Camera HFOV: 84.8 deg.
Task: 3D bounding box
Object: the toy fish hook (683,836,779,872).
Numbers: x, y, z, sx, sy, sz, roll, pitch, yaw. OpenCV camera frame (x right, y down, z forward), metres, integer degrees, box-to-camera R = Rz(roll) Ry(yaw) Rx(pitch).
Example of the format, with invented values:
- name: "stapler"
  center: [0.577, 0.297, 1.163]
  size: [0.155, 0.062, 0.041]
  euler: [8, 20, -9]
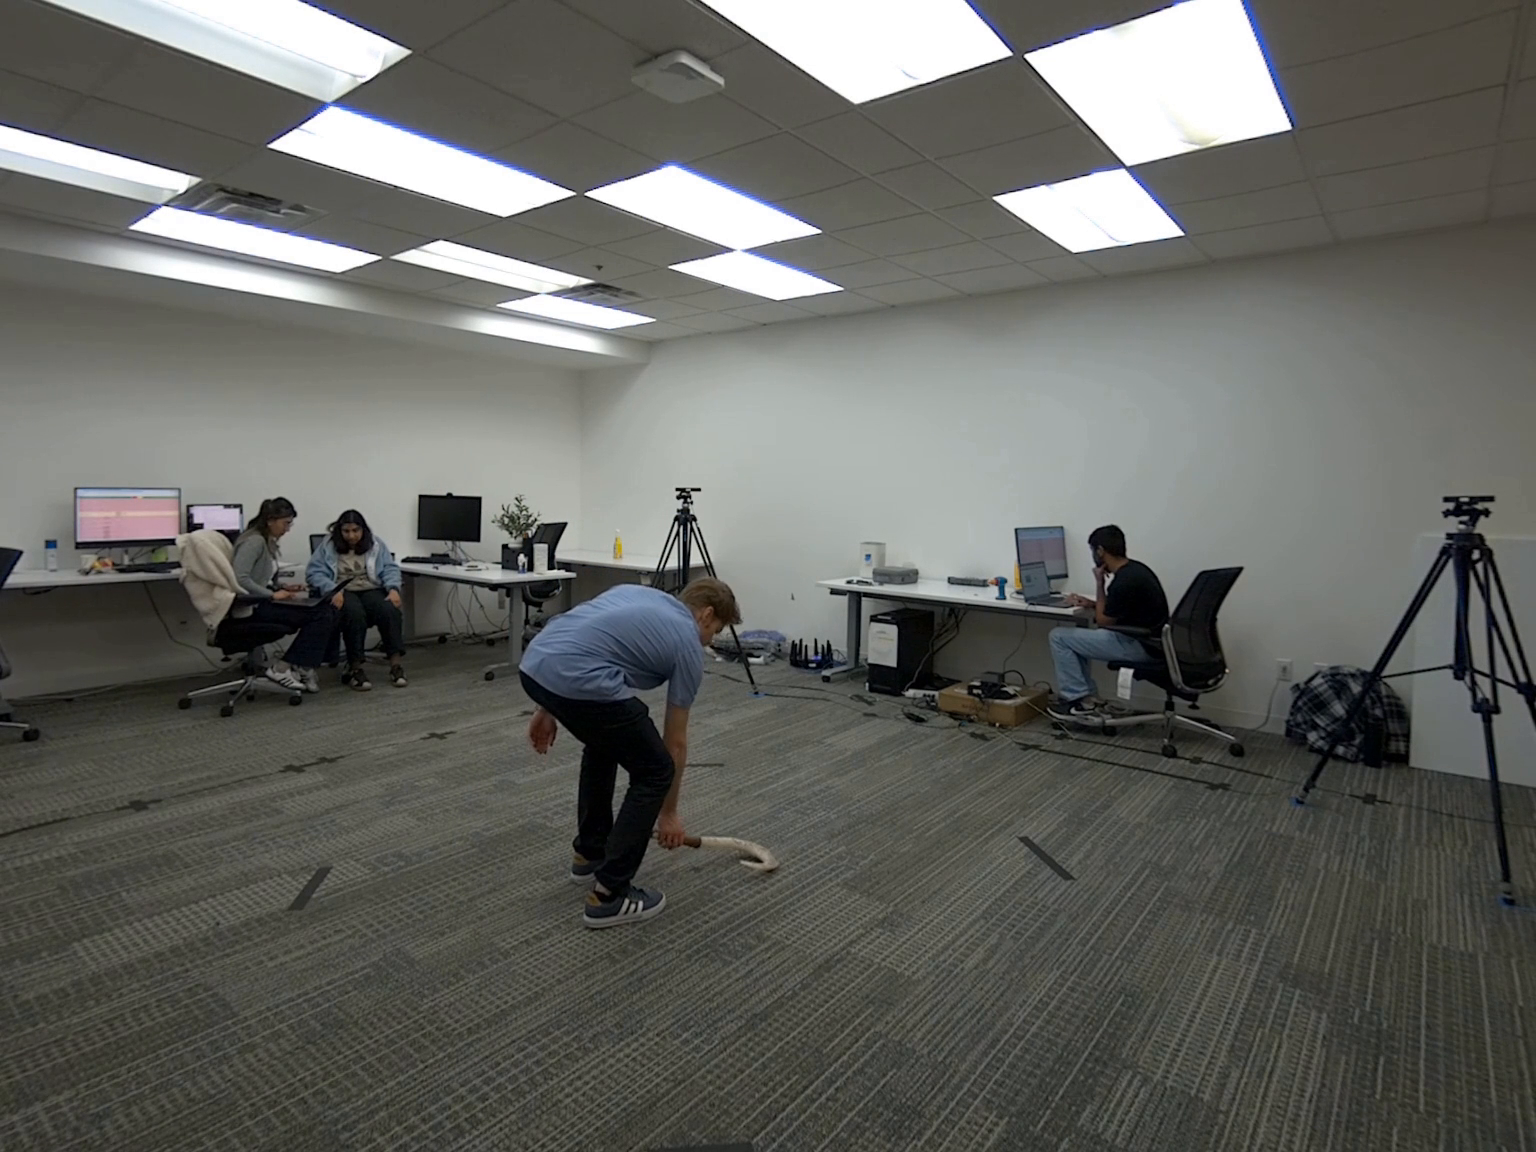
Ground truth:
- name: "toy fish hook"
  center: [-0.192, 0.987, 3.073]
  size: [0.491, 0.048, 0.231]
  euler: [17, -2, -27]
